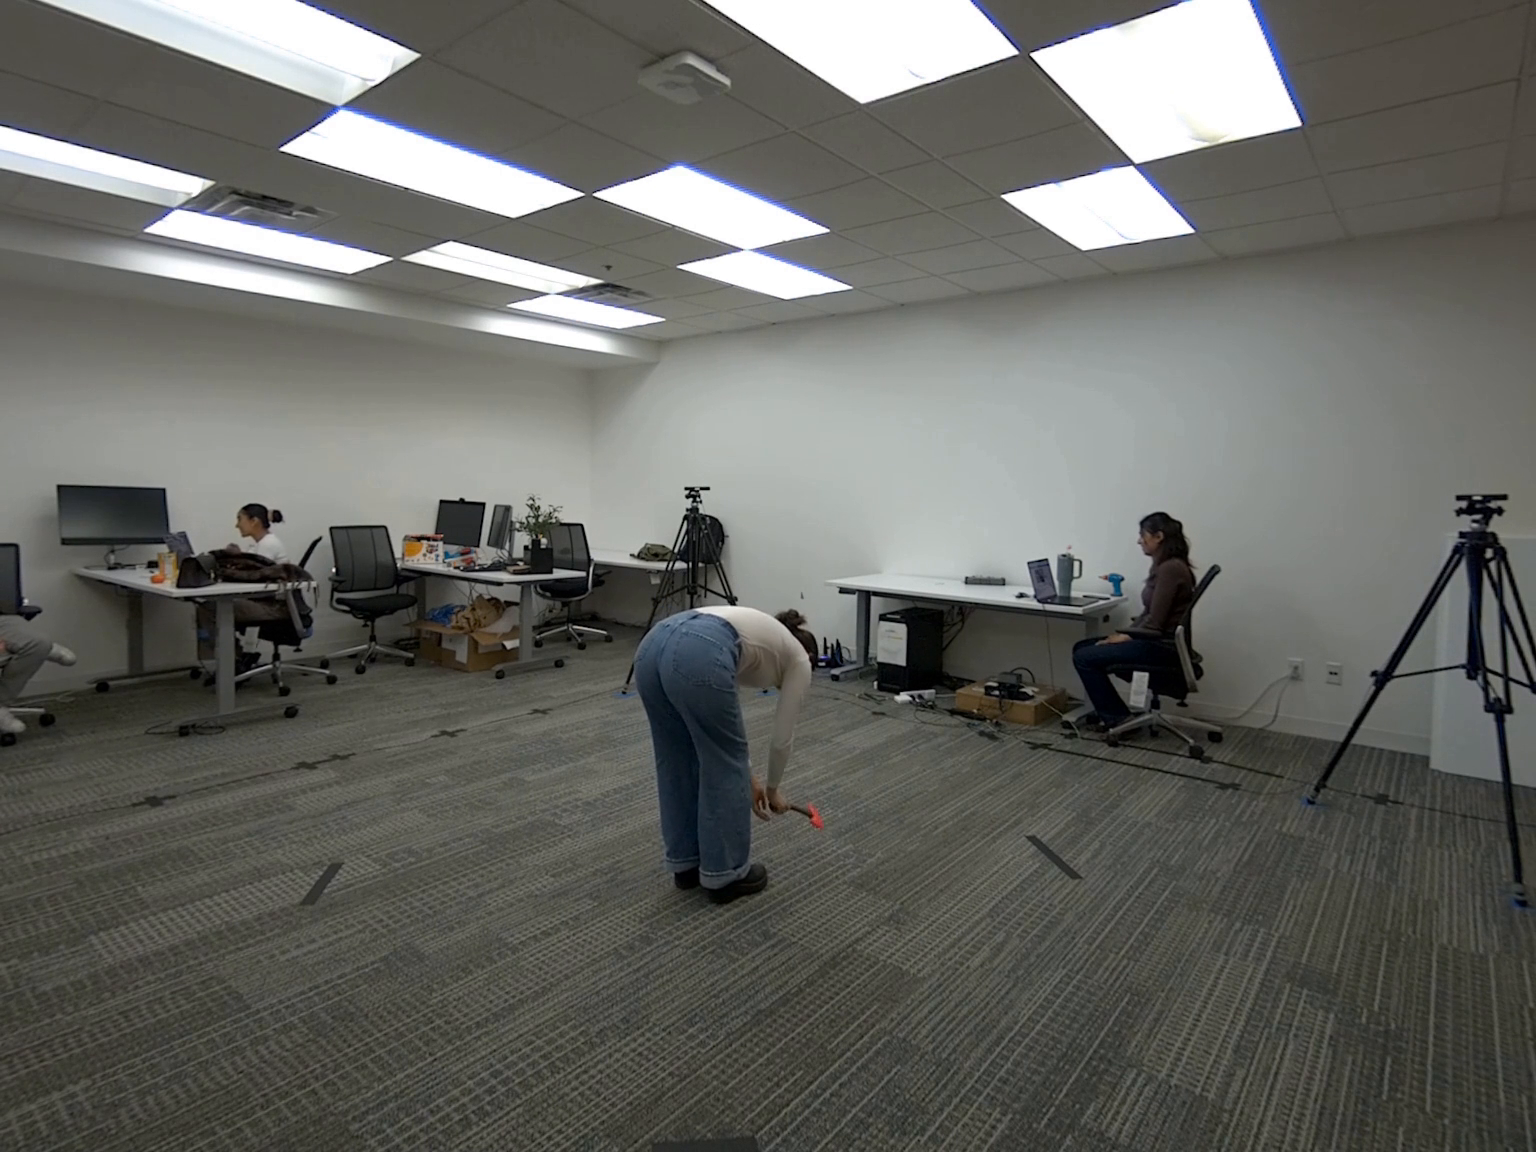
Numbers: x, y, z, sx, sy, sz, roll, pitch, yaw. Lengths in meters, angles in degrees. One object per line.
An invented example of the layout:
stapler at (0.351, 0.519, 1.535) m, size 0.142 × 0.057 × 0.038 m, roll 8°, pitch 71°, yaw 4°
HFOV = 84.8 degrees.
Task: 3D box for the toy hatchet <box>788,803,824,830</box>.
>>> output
toy hatchet at (0.105, 0.888, 3.178) m, size 0.259 × 0.029 × 0.137 m, roll 21°, pitch 21°, yaw -46°
